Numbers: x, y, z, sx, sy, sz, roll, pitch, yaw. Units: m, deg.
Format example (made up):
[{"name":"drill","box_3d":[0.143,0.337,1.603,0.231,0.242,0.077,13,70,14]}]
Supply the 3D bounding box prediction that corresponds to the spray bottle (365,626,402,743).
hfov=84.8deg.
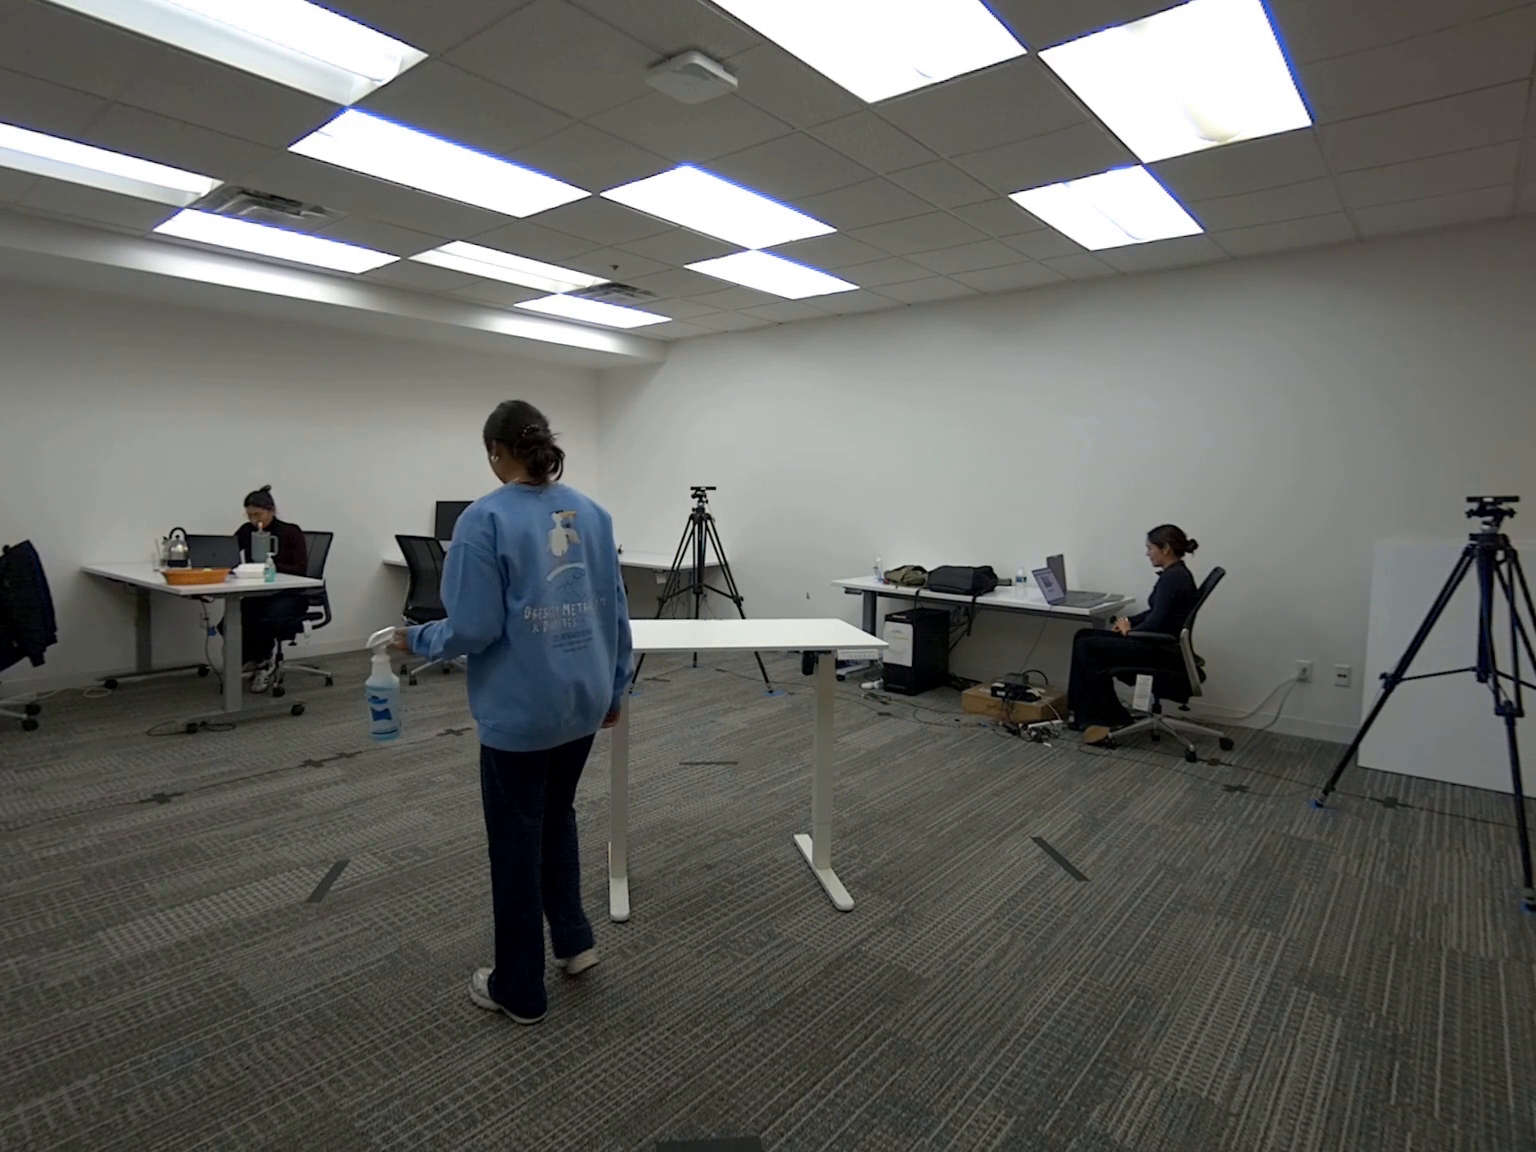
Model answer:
[{"name":"spray bottle","box_3d":[-1.052,0.296,2.312,0.087,0.295,0.090,-6,12,-39]}]
